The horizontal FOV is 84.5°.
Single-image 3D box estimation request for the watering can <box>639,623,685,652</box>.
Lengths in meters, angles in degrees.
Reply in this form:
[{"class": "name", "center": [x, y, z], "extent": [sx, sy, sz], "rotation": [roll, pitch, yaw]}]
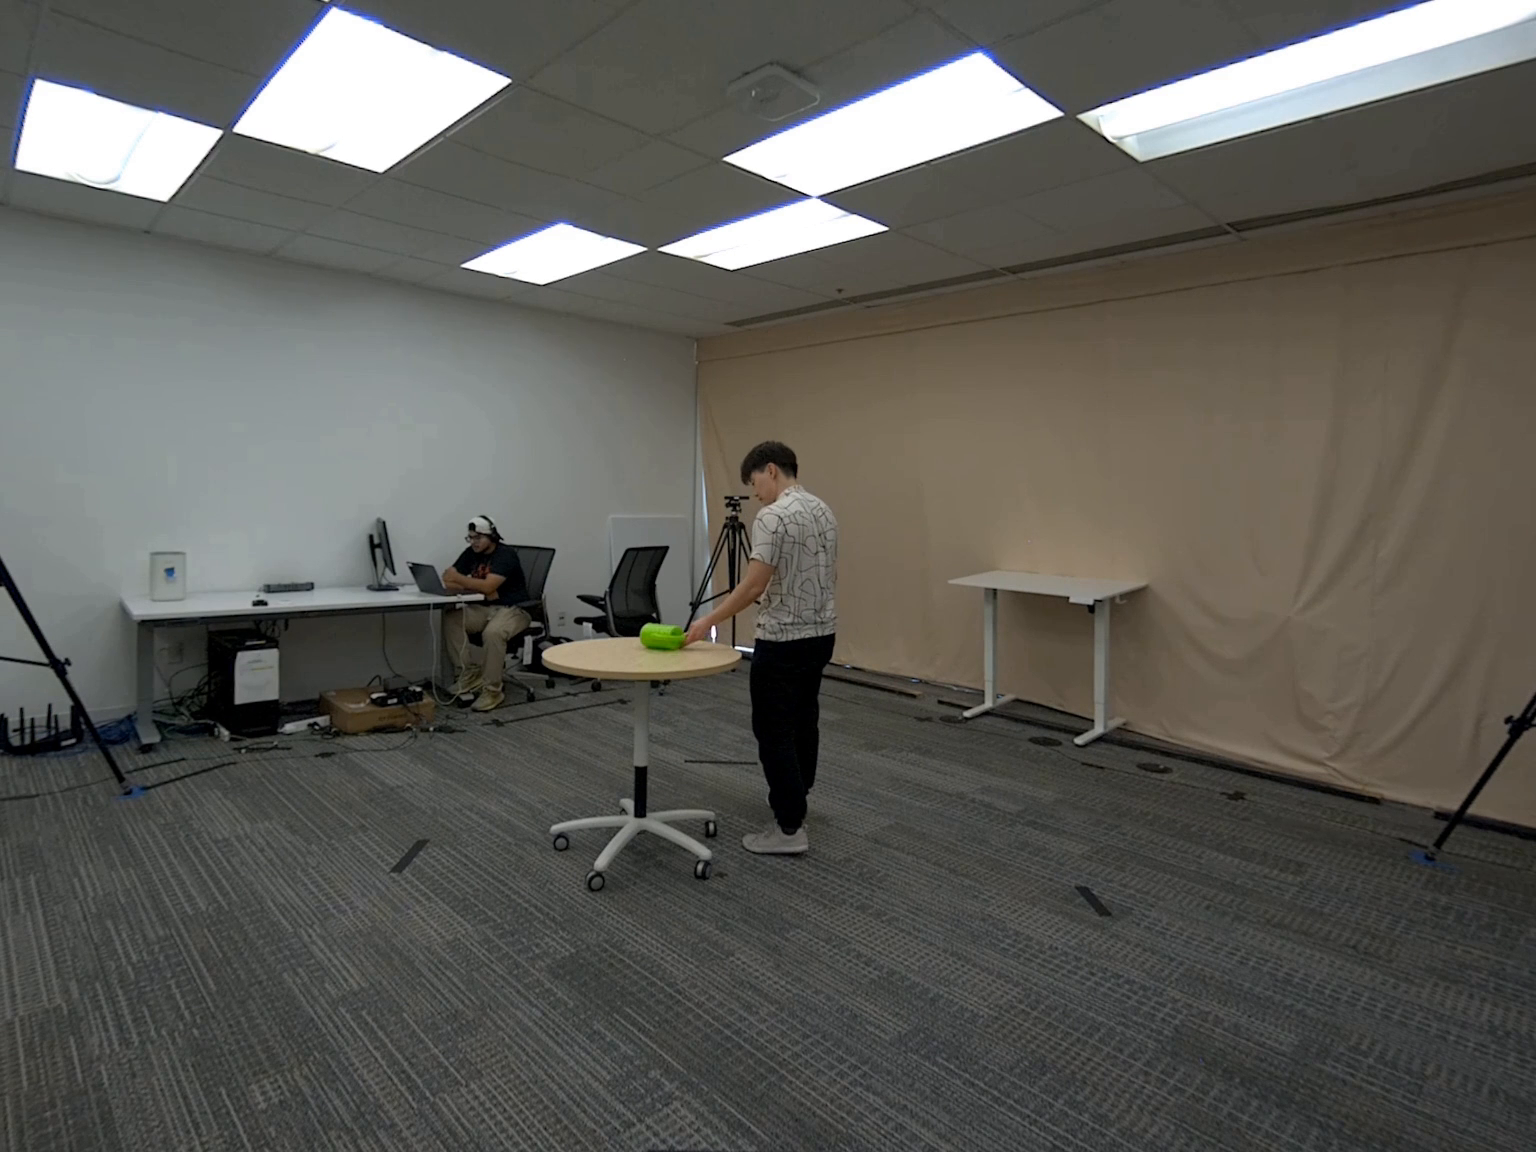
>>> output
[{"class": "watering can", "center": [-0.402, 0.252, 3.392], "extent": [0.180, 0.099, 0.271], "rotation": [2, -14, 24]}]
